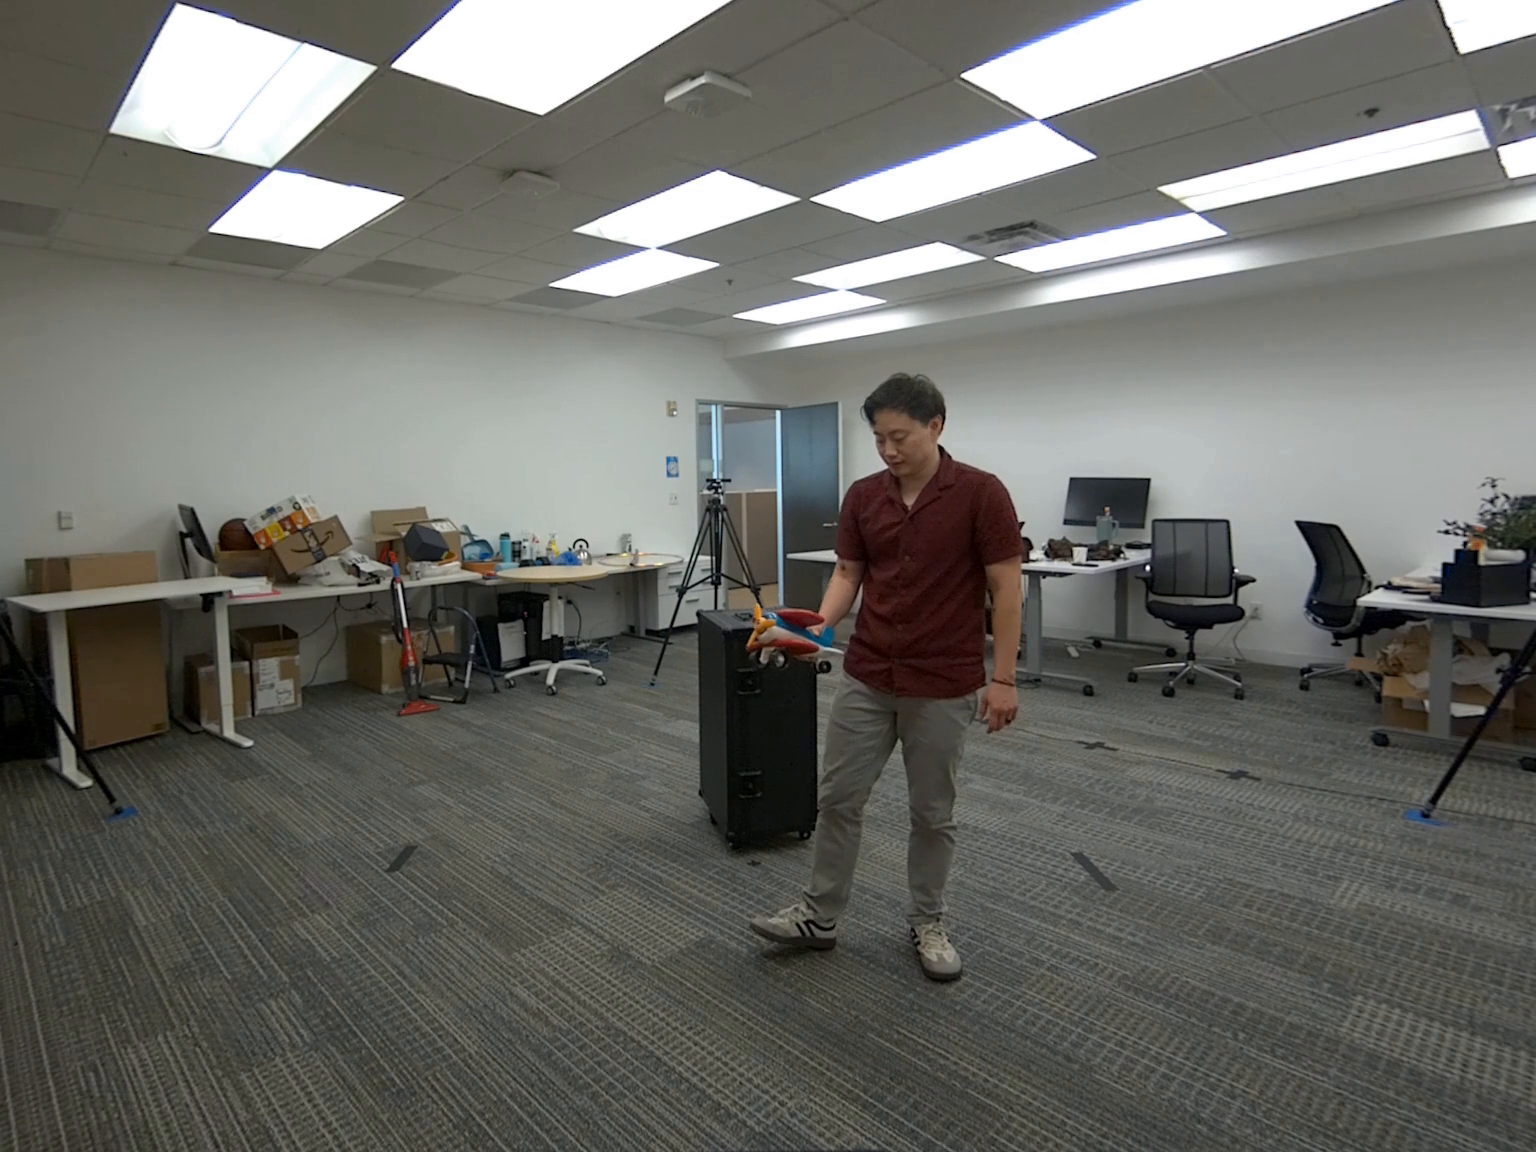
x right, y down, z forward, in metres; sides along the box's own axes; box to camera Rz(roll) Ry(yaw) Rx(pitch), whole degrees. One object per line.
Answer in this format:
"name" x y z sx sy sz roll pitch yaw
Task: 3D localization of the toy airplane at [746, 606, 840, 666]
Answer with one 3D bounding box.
"toy airplane" 0.072 0.183 2.266 0.257 0.158 0.251 -4 -10 31
